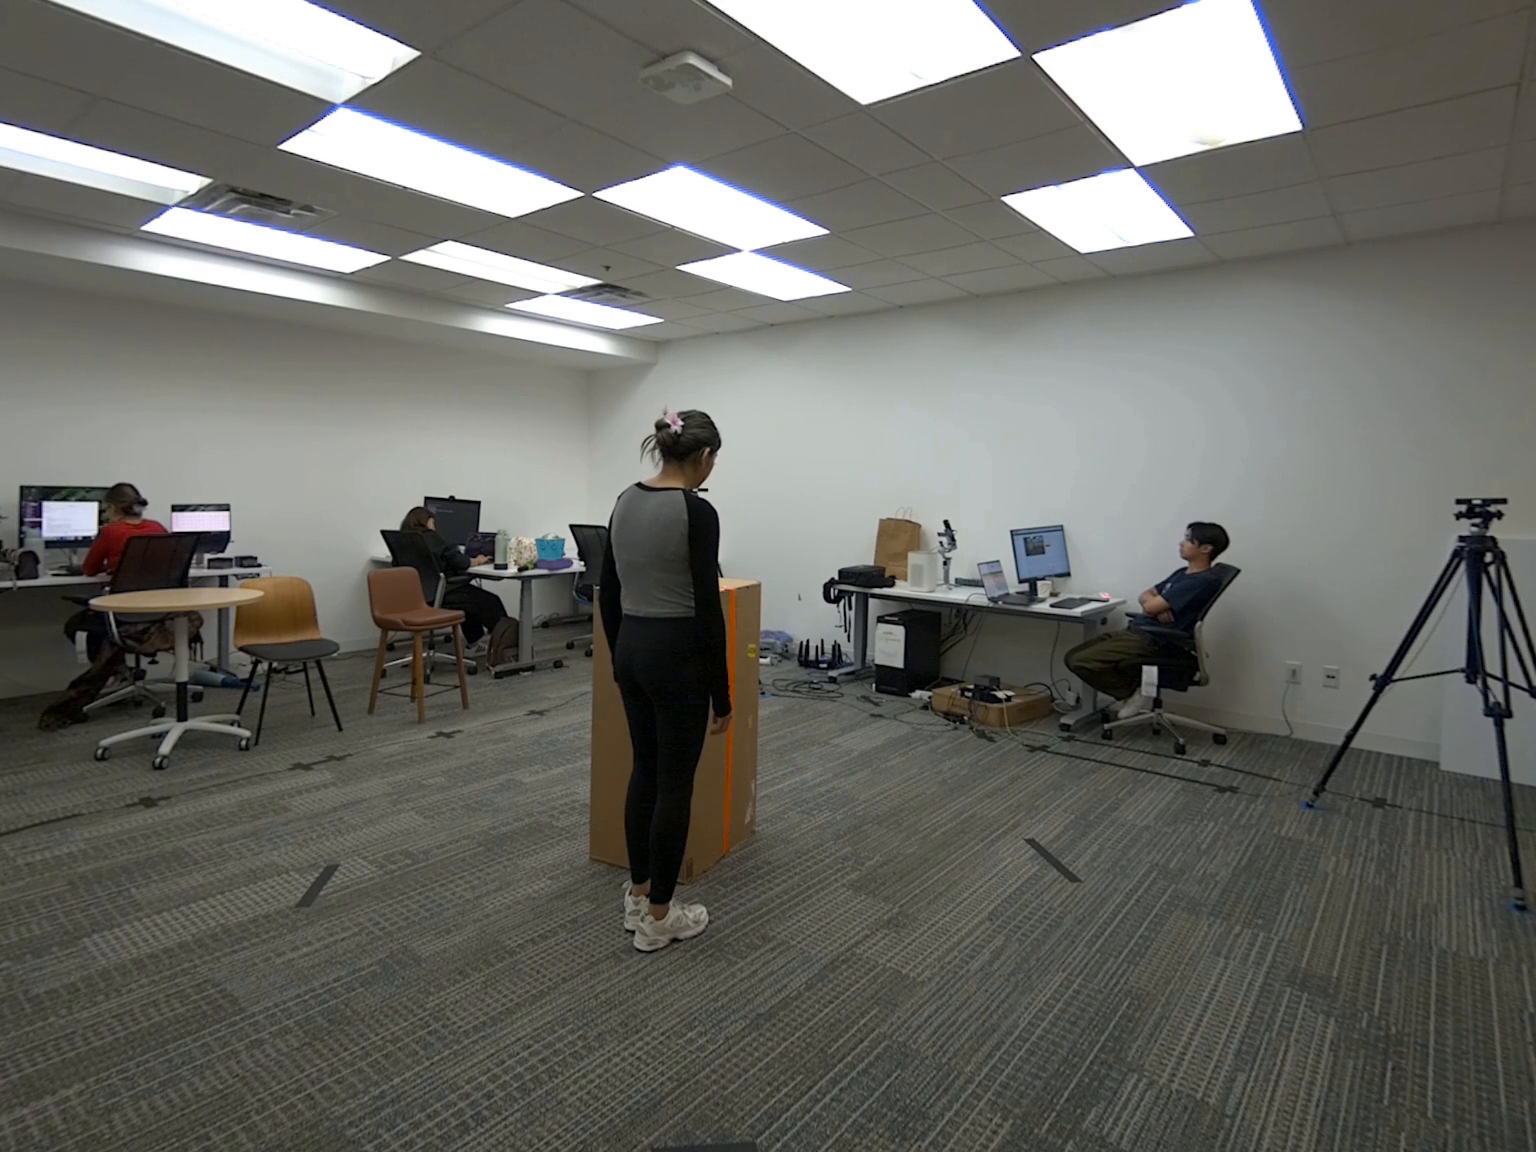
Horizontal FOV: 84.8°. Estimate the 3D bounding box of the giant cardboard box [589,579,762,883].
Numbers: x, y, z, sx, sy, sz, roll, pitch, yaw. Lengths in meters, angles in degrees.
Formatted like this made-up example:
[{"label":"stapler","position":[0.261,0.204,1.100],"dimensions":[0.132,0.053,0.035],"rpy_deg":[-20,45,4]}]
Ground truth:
[{"label":"giant cardboard box","position":[-0.354,0.539,3.304],"dimensions":[0.438,1.023,0.563],"rpy_deg":[3,4,27]}]
